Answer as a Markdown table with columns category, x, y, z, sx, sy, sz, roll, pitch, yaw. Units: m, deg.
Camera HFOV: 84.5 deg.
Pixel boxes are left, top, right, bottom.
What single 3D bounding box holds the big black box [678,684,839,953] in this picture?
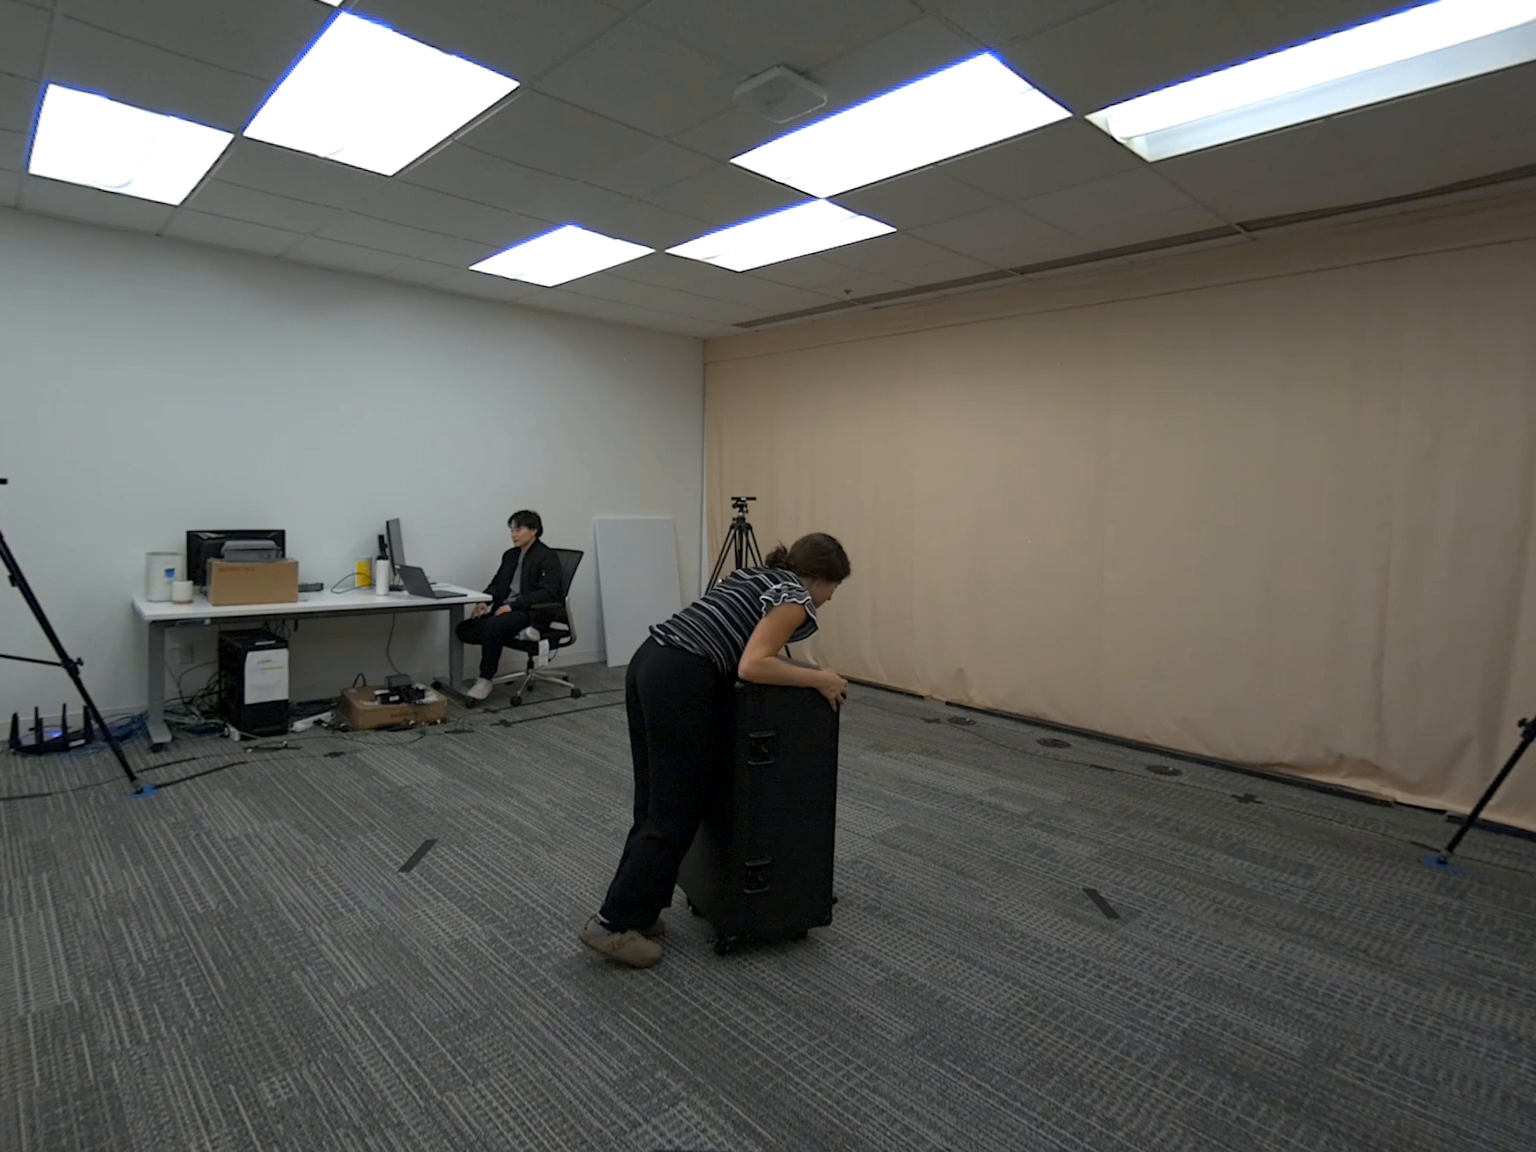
| category | x | y | z | sx | sy | sz | roll | pitch | yaw |
| --- | --- | --- | --- | --- | --- | --- | --- | --- | --- |
| big black box | -0.046 | 0.726 | 2.758 | 0.389 | 0.860 | 0.532 | 2 | 3 | -25 |
